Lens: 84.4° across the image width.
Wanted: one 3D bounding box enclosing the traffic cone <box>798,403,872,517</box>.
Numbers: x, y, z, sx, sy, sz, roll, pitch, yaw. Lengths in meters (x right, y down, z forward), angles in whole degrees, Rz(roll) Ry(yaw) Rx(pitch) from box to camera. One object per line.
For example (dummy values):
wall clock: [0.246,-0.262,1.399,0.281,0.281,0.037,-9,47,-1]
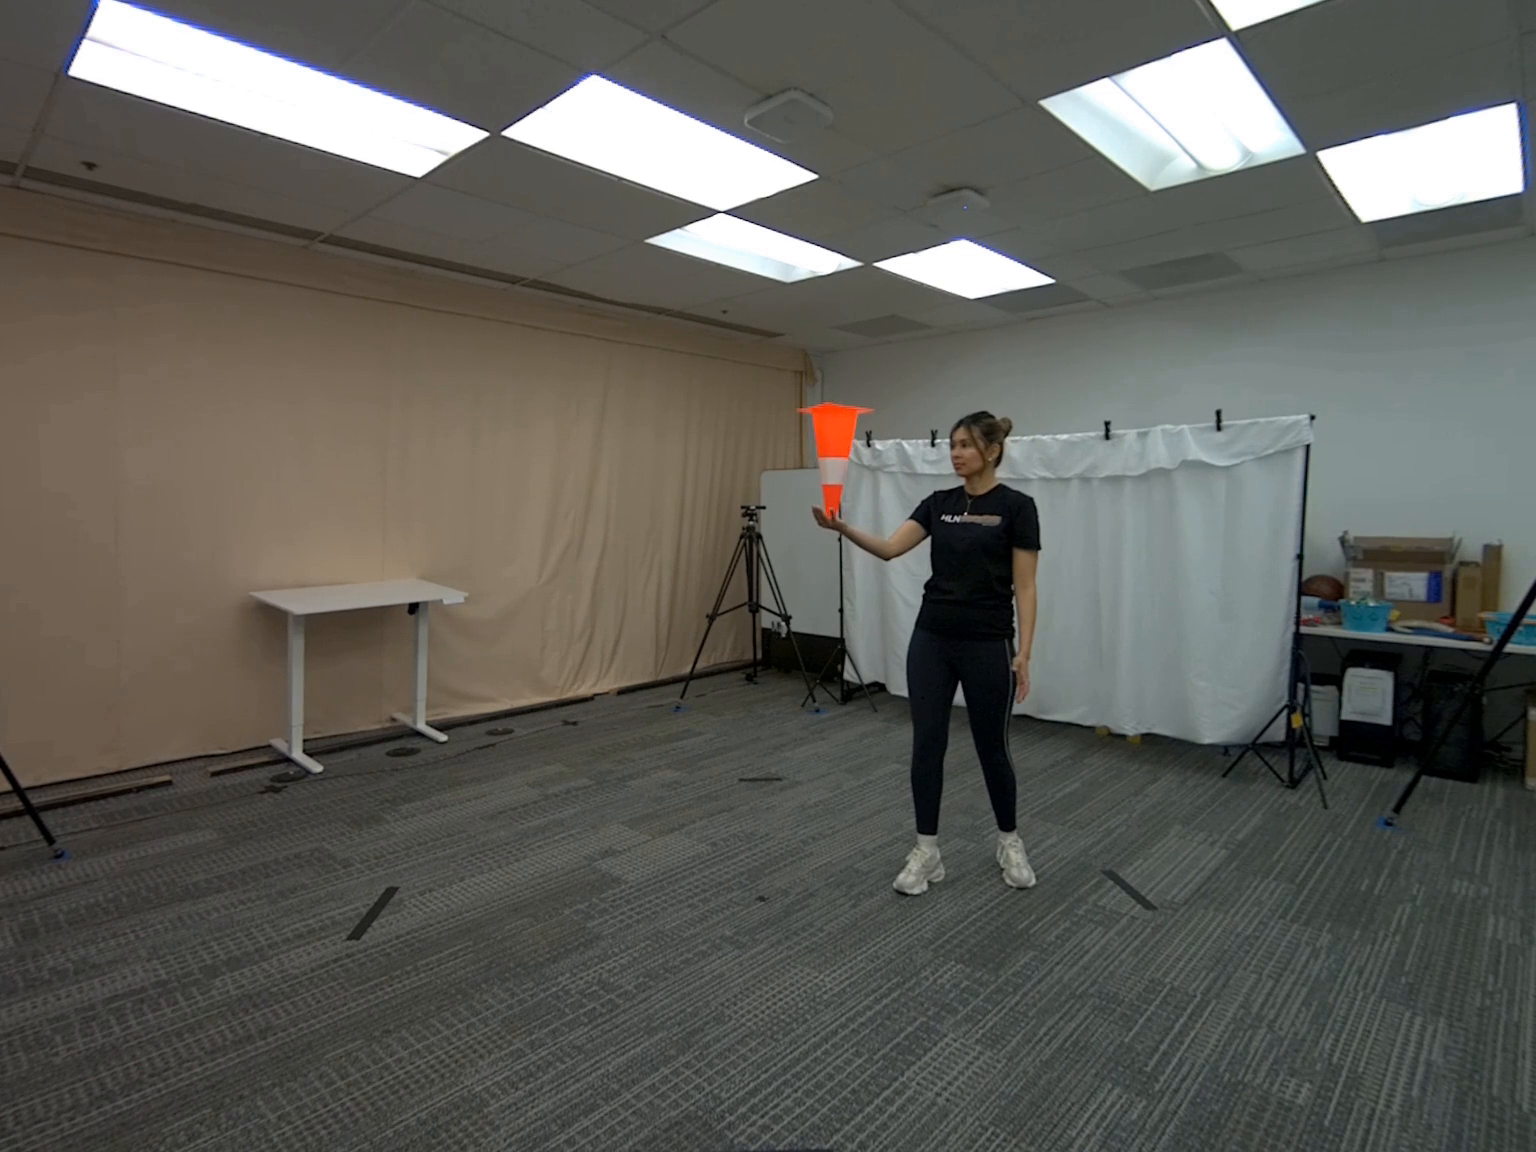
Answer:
traffic cone: [0.232,-0.382,2.888,0.199,0.384,0.209,2,0,-35]
